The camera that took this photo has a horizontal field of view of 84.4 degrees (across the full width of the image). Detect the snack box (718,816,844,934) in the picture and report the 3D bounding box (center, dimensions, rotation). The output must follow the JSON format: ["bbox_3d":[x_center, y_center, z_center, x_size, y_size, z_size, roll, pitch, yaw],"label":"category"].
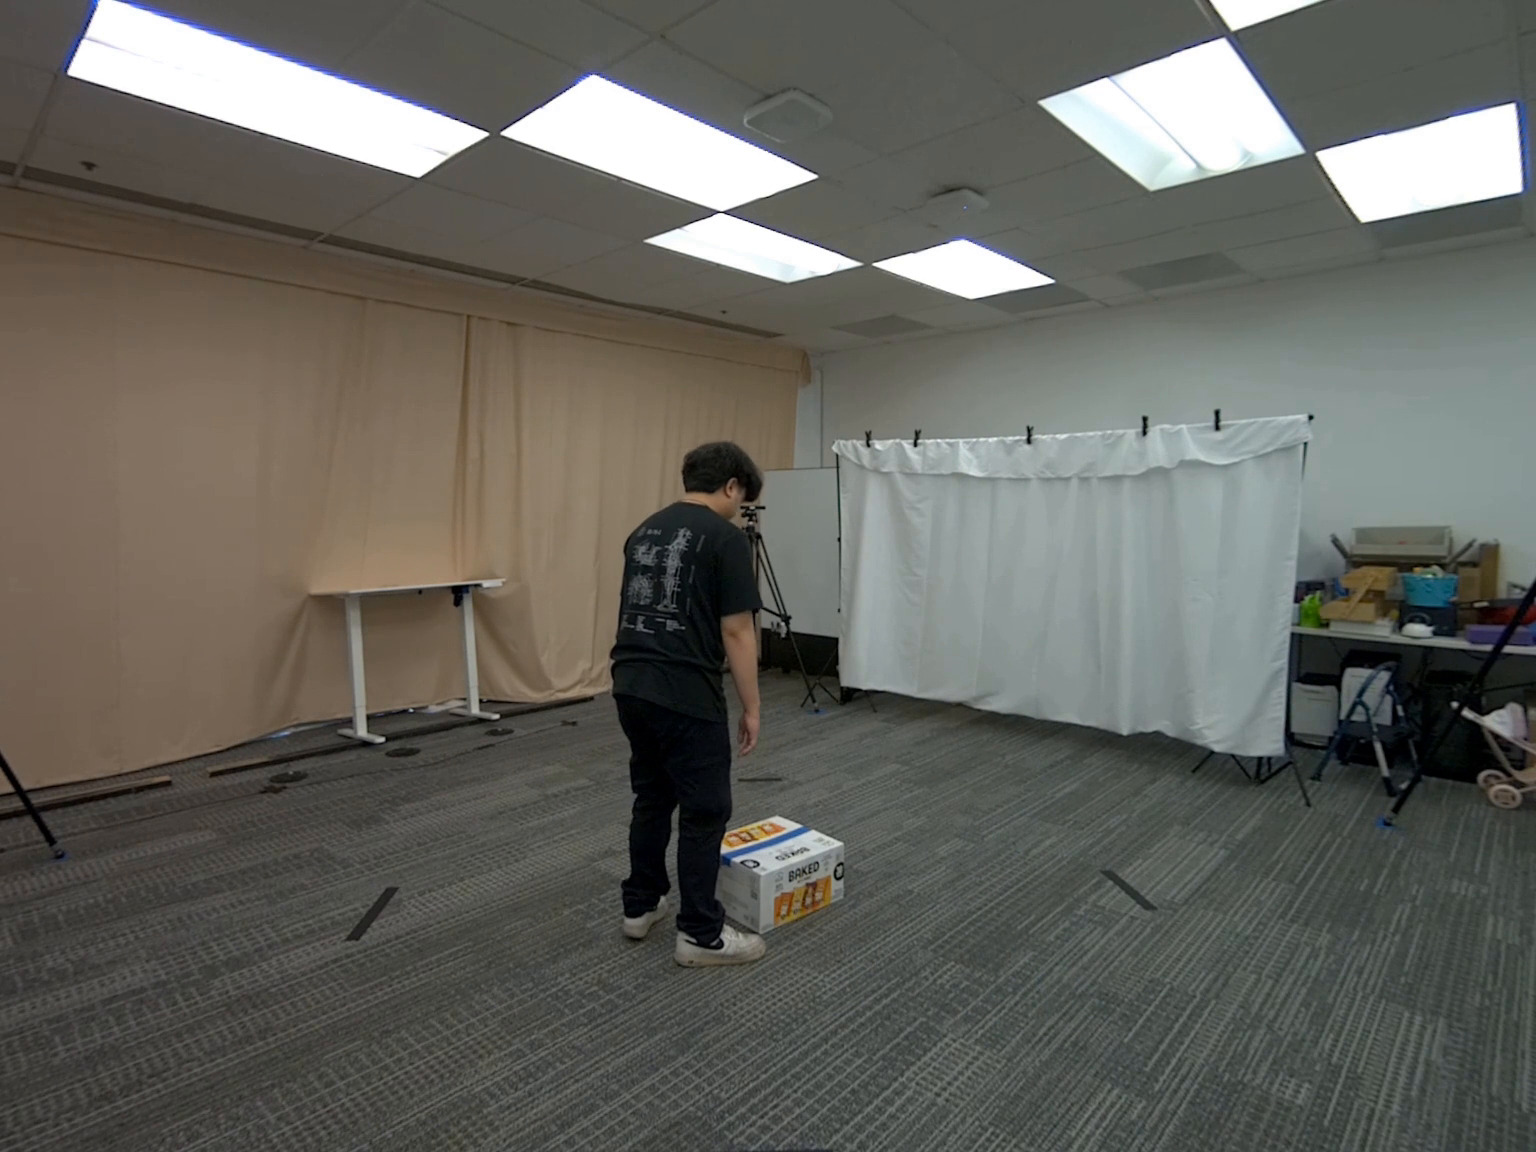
[{"bbox_3d":[0.011,1.045,2.974,0.393,0.205,0.352,-4,6,-41],"label":"snack box"}]
